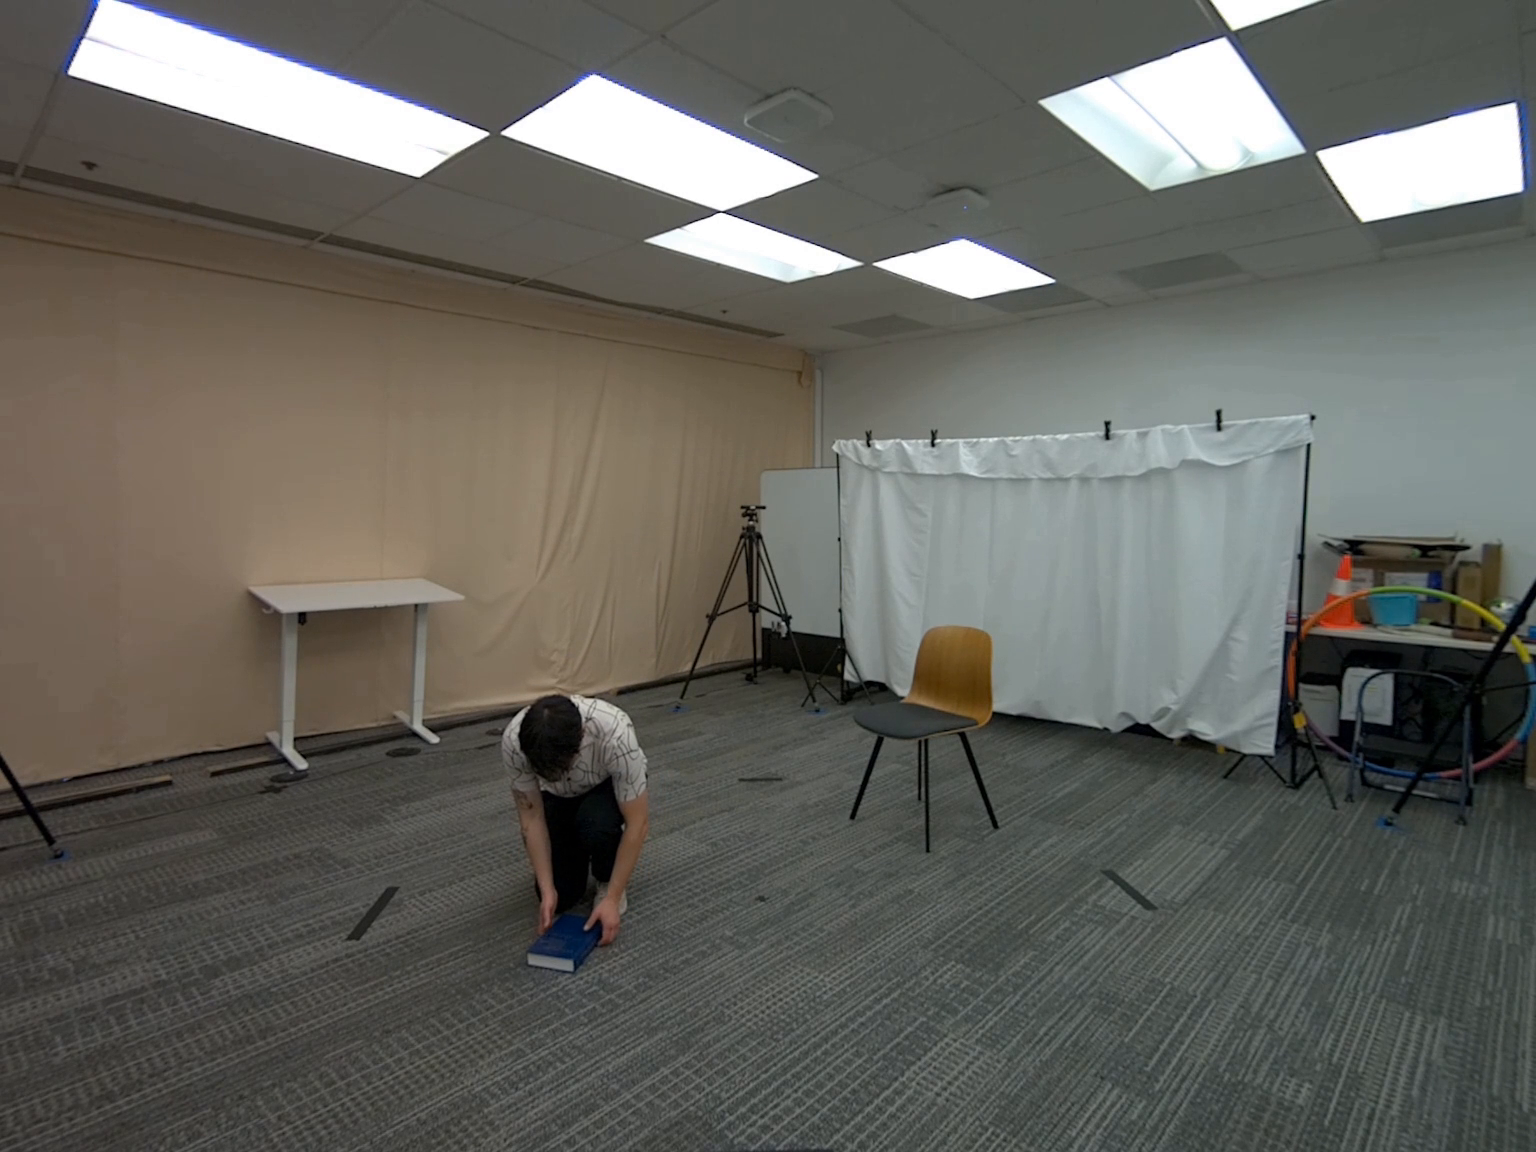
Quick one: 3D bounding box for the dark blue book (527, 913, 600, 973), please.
[{"bbox_3d":[-0.631,1.145,2.648,0.166,0.045,0.242,0,6,15],"label":"dark blue book"}]
